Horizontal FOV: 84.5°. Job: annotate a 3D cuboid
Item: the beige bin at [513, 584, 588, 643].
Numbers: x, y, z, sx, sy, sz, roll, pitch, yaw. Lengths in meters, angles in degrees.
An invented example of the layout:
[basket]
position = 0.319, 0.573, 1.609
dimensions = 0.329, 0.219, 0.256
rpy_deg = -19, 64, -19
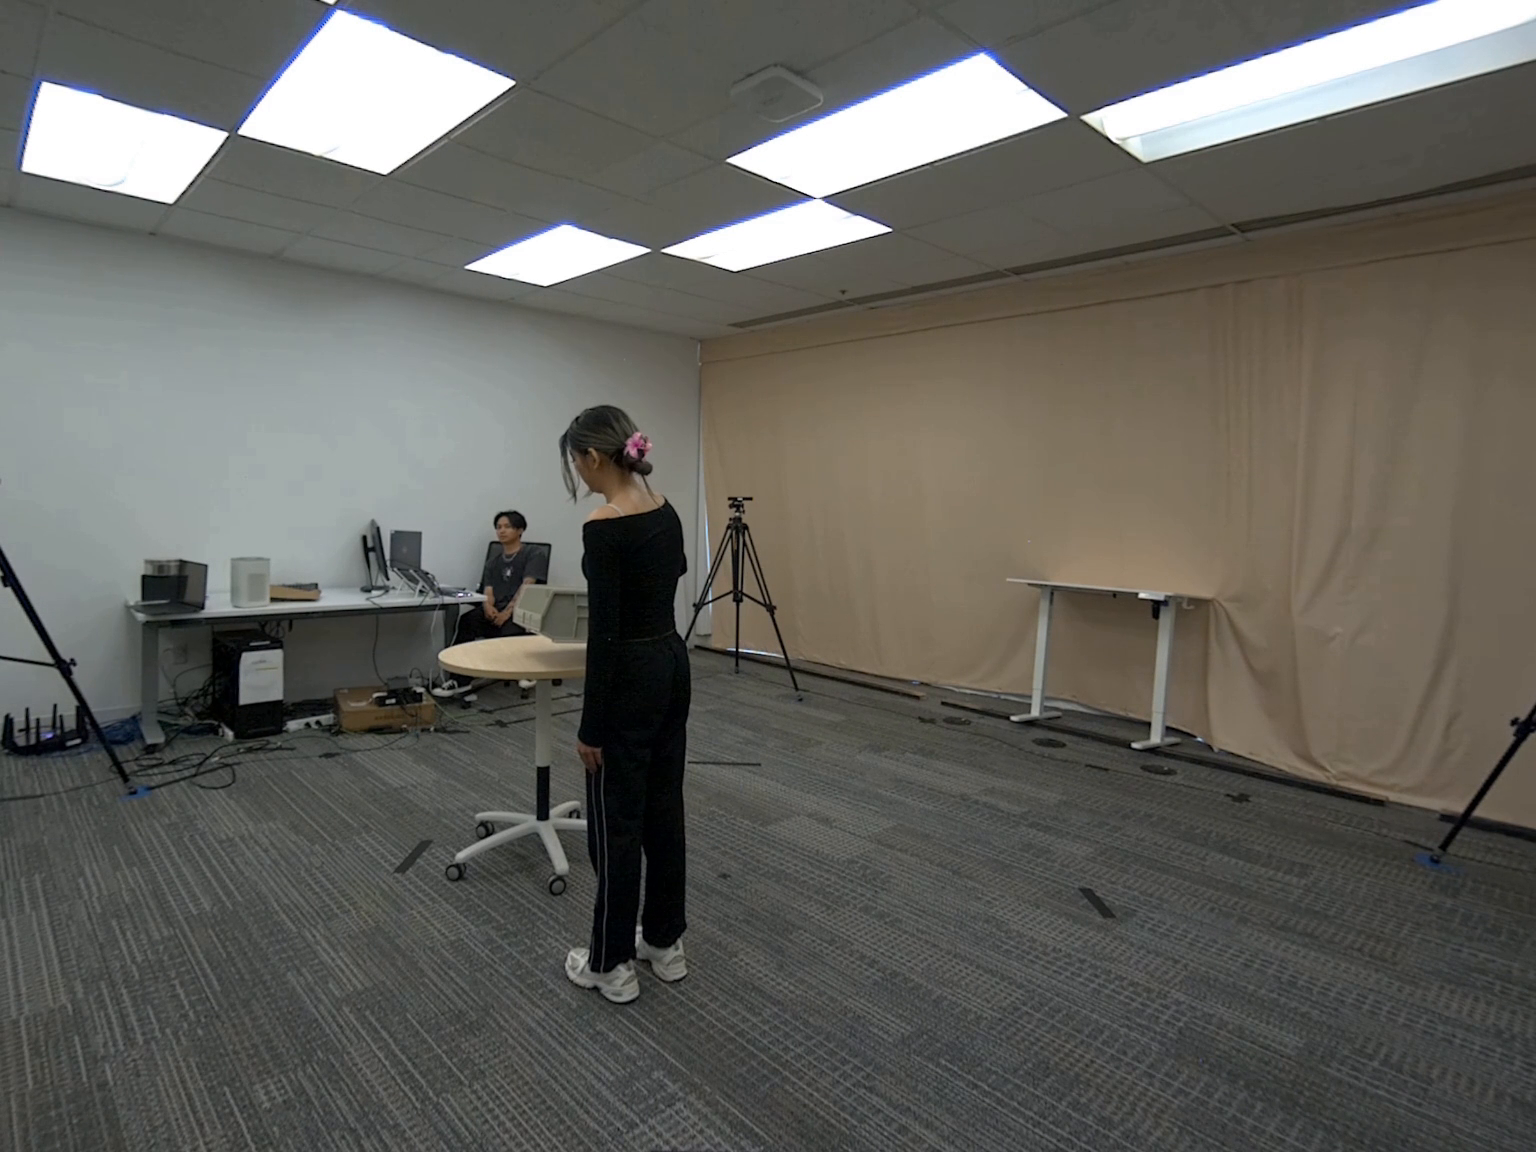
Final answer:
[beige bin]
position = -0.700, 0.134, 3.069
dimensions = 0.369, 0.189, 0.431
rpy_deg = 5, 0, -29
